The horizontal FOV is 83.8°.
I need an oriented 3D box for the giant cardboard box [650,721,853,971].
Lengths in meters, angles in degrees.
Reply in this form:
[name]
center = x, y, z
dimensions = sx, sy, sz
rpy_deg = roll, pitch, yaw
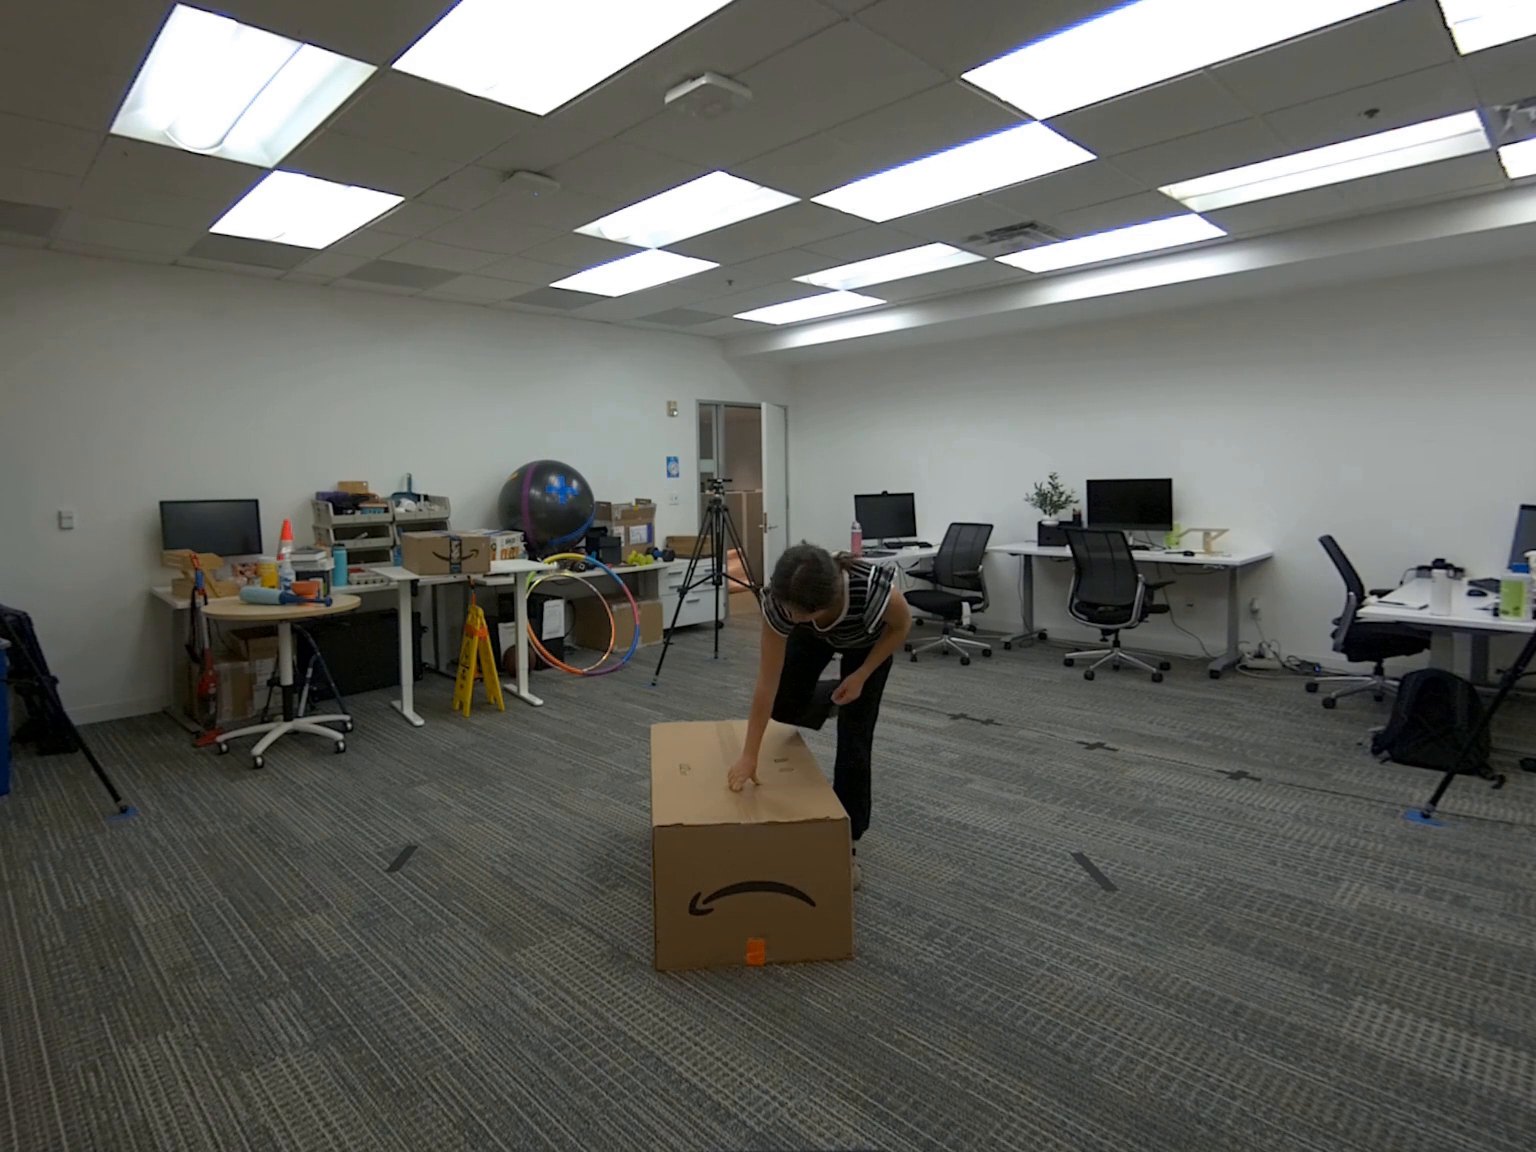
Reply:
[giant cardboard box]
center = -0.113, 0.857, 2.946
dimensions = 0.574, 0.424, 1.037
rpy_deg = -1, 6, -7
